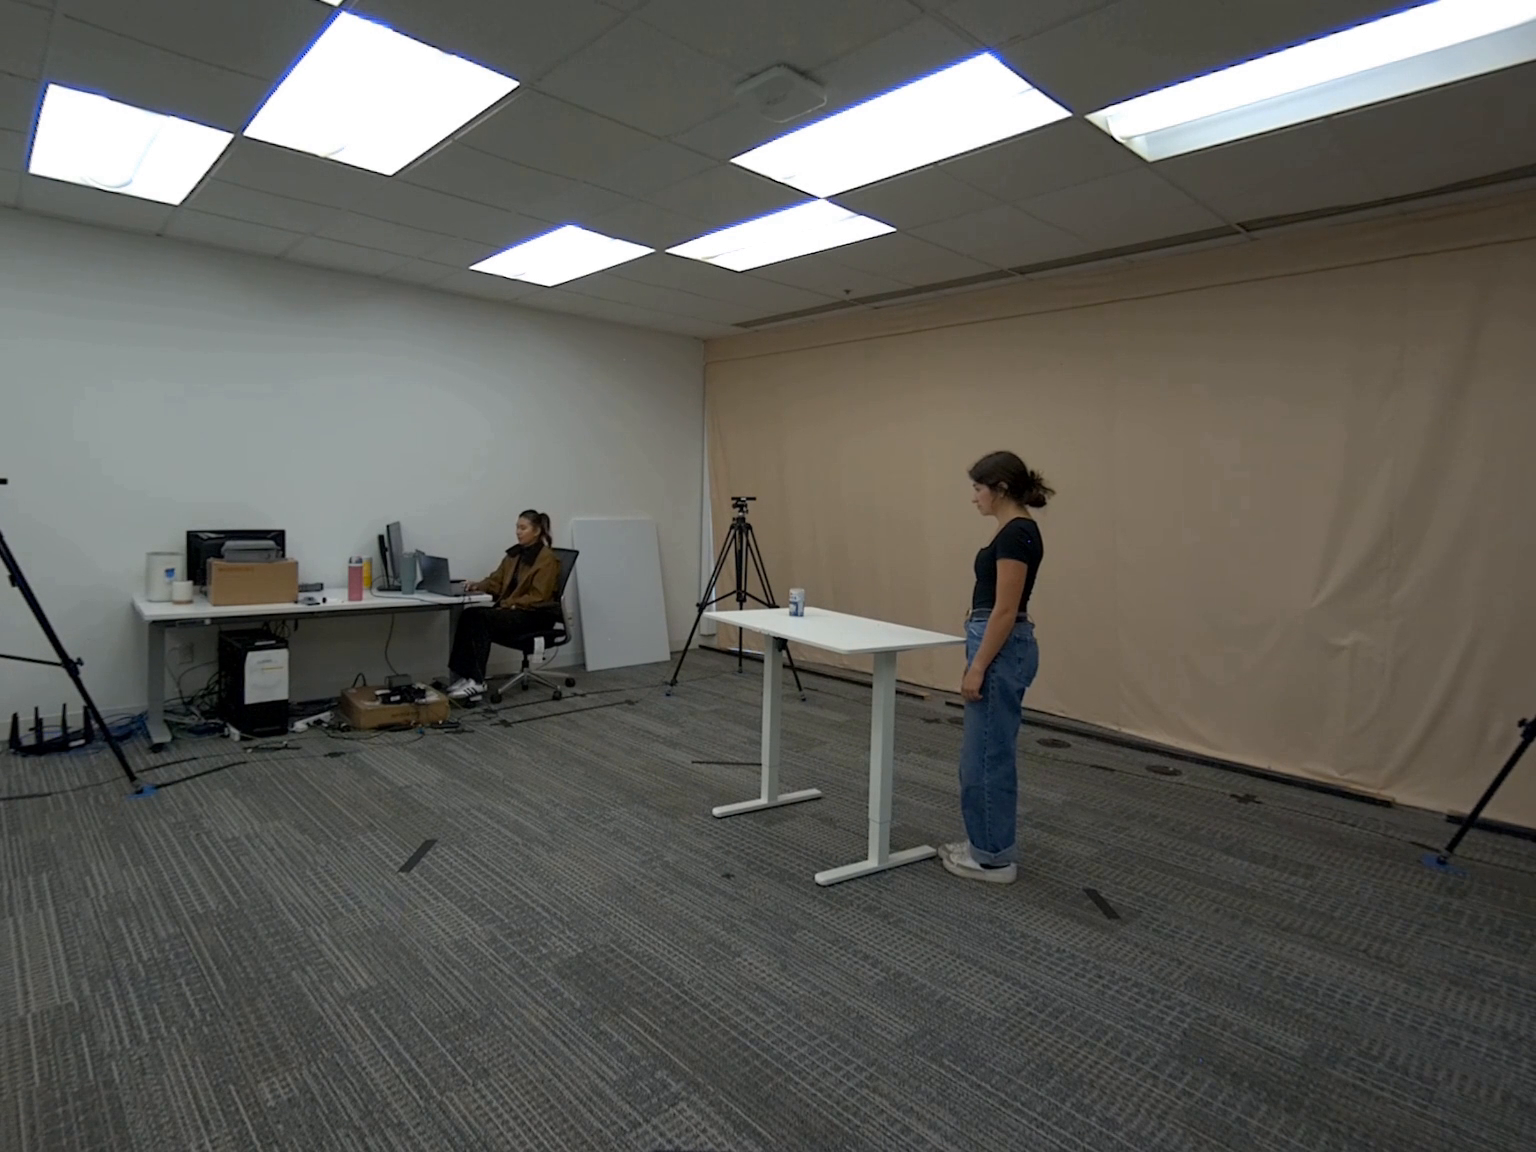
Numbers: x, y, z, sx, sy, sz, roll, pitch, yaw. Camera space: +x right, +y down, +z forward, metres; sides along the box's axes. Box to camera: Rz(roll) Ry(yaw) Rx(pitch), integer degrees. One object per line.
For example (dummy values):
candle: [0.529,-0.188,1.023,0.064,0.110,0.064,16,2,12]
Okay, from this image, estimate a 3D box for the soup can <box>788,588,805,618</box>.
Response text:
soup can: [0.111,0.118,3.730,0.067,0.121,0.067,2,6,-2]
